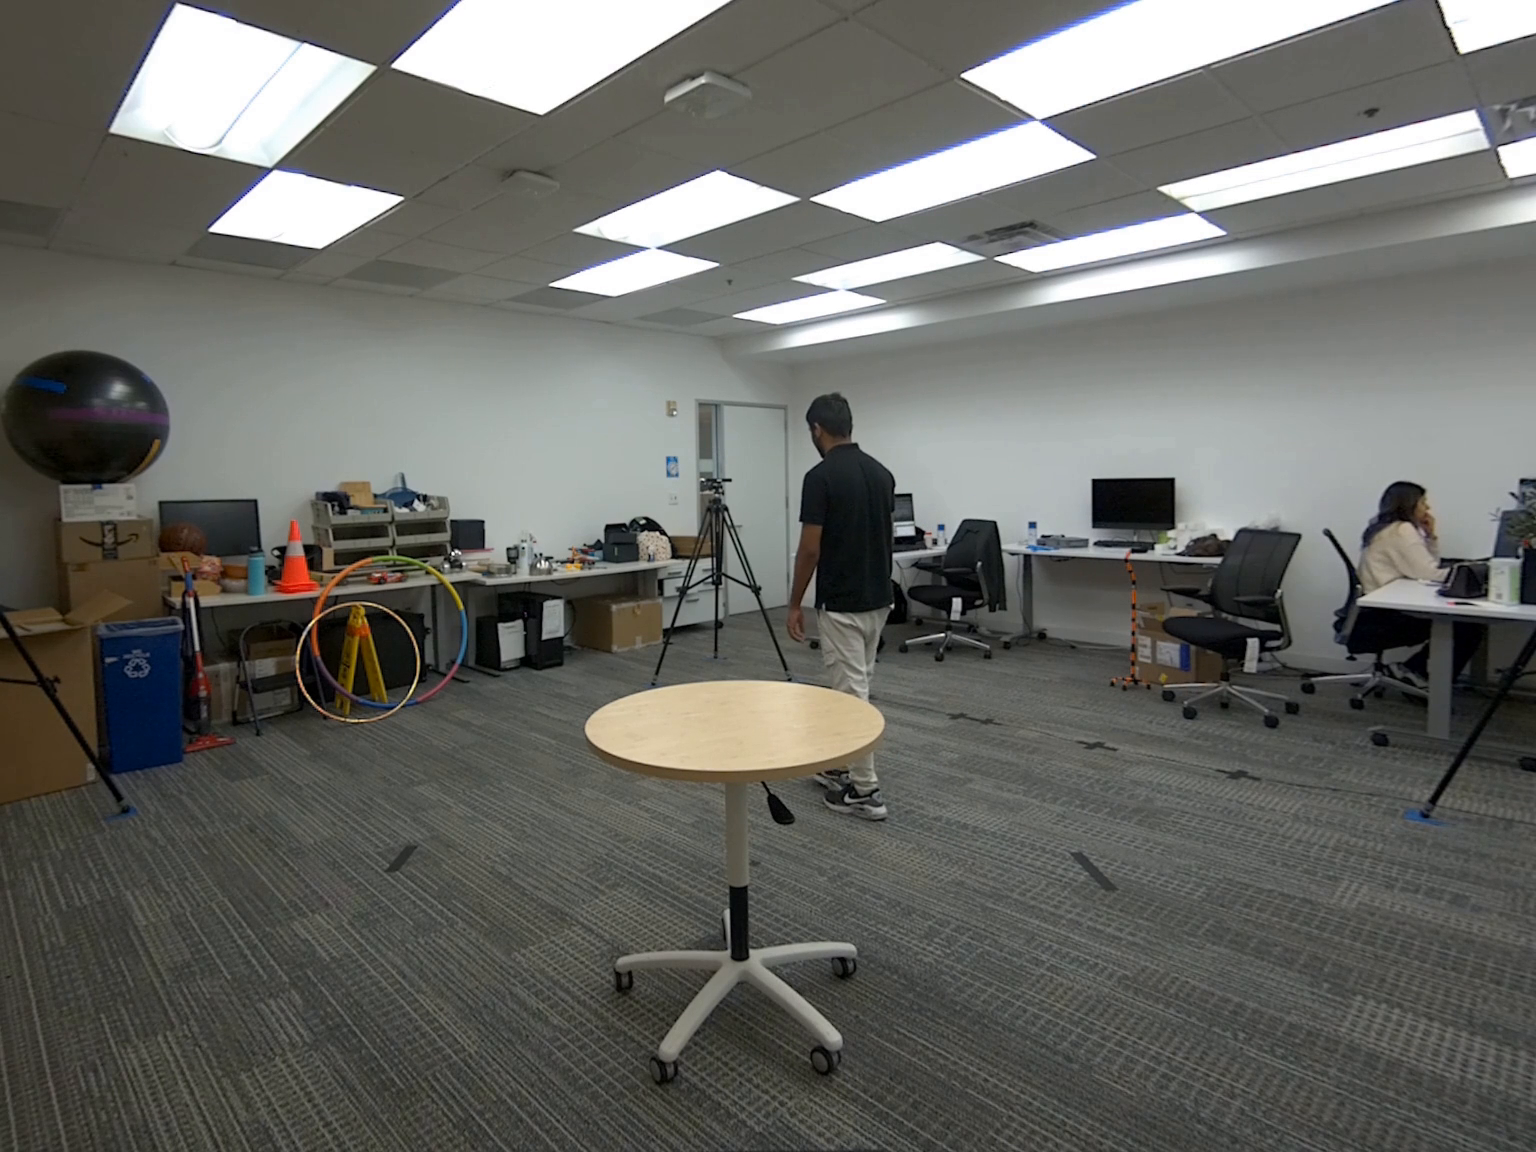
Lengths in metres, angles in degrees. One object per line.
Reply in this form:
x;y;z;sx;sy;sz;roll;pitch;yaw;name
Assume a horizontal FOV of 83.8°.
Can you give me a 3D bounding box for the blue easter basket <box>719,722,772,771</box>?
-0.118;0.842;4.258;0.243;0.155;0.245;-2;6;-1;blue easter basket
